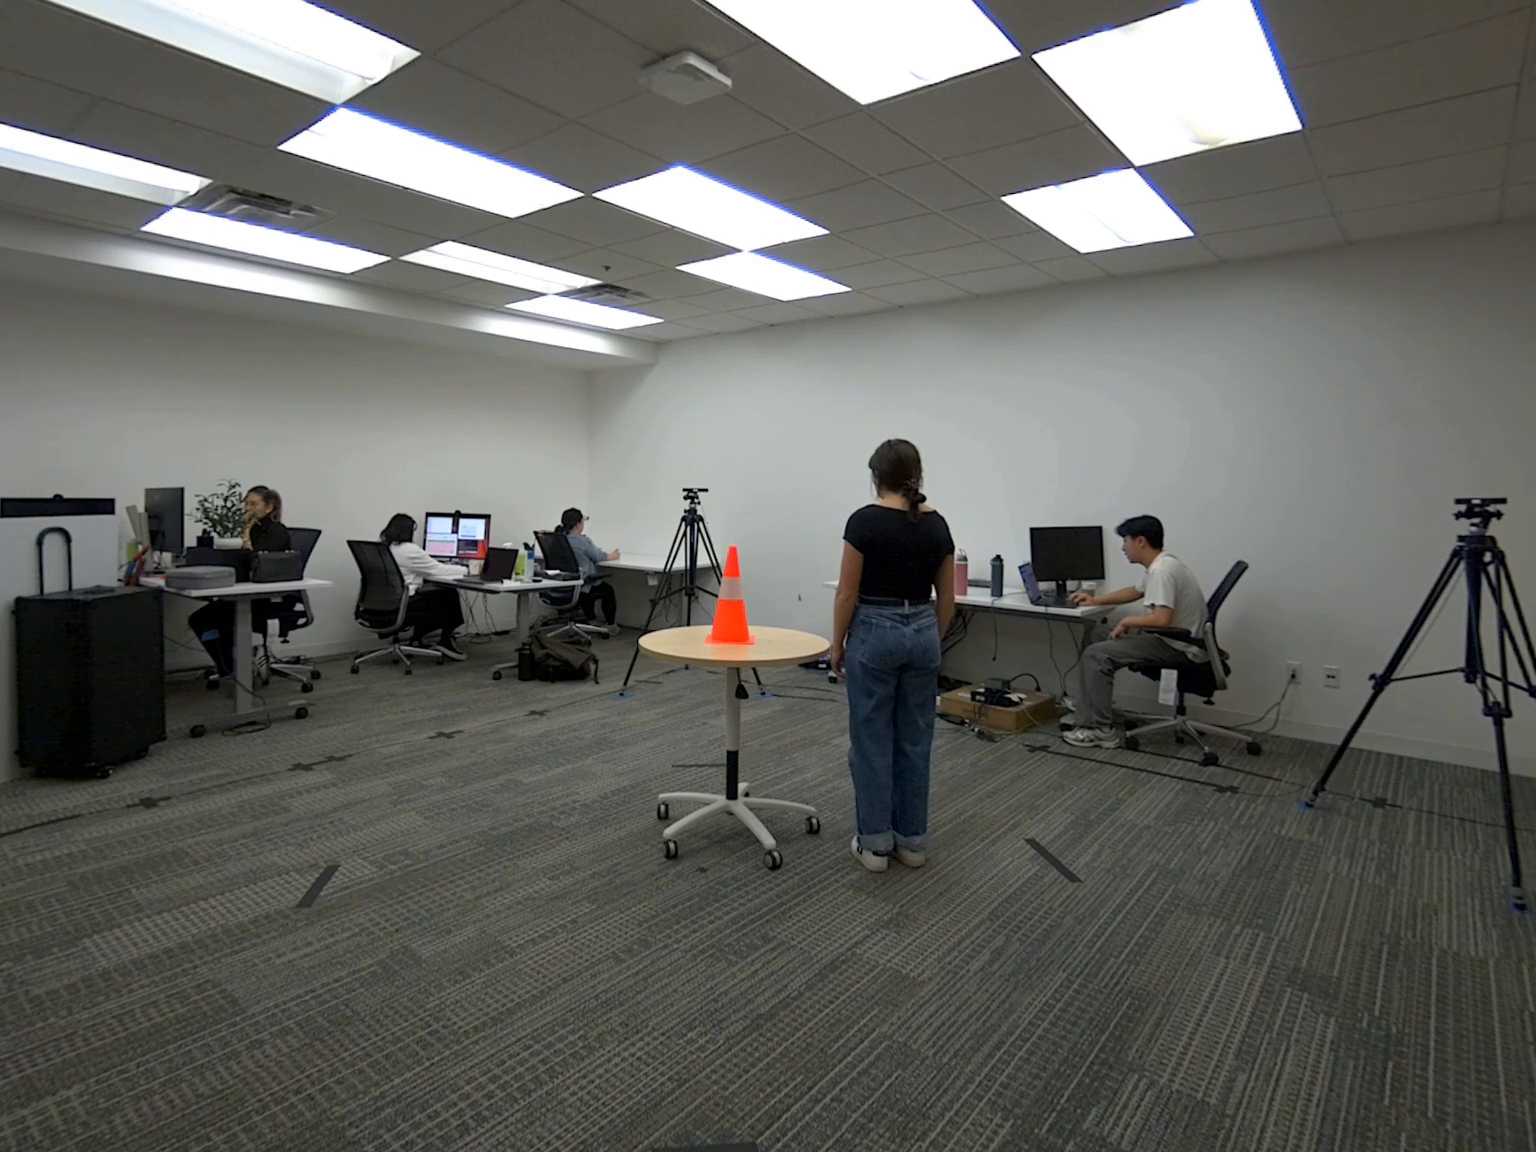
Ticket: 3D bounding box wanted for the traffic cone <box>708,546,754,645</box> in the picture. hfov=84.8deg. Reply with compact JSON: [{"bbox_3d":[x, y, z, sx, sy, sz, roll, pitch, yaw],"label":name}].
[{"bbox_3d":[-0.144,0.064,3.443,0.205,0.382,0.204,2,4,-1],"label":"traffic cone"}]
